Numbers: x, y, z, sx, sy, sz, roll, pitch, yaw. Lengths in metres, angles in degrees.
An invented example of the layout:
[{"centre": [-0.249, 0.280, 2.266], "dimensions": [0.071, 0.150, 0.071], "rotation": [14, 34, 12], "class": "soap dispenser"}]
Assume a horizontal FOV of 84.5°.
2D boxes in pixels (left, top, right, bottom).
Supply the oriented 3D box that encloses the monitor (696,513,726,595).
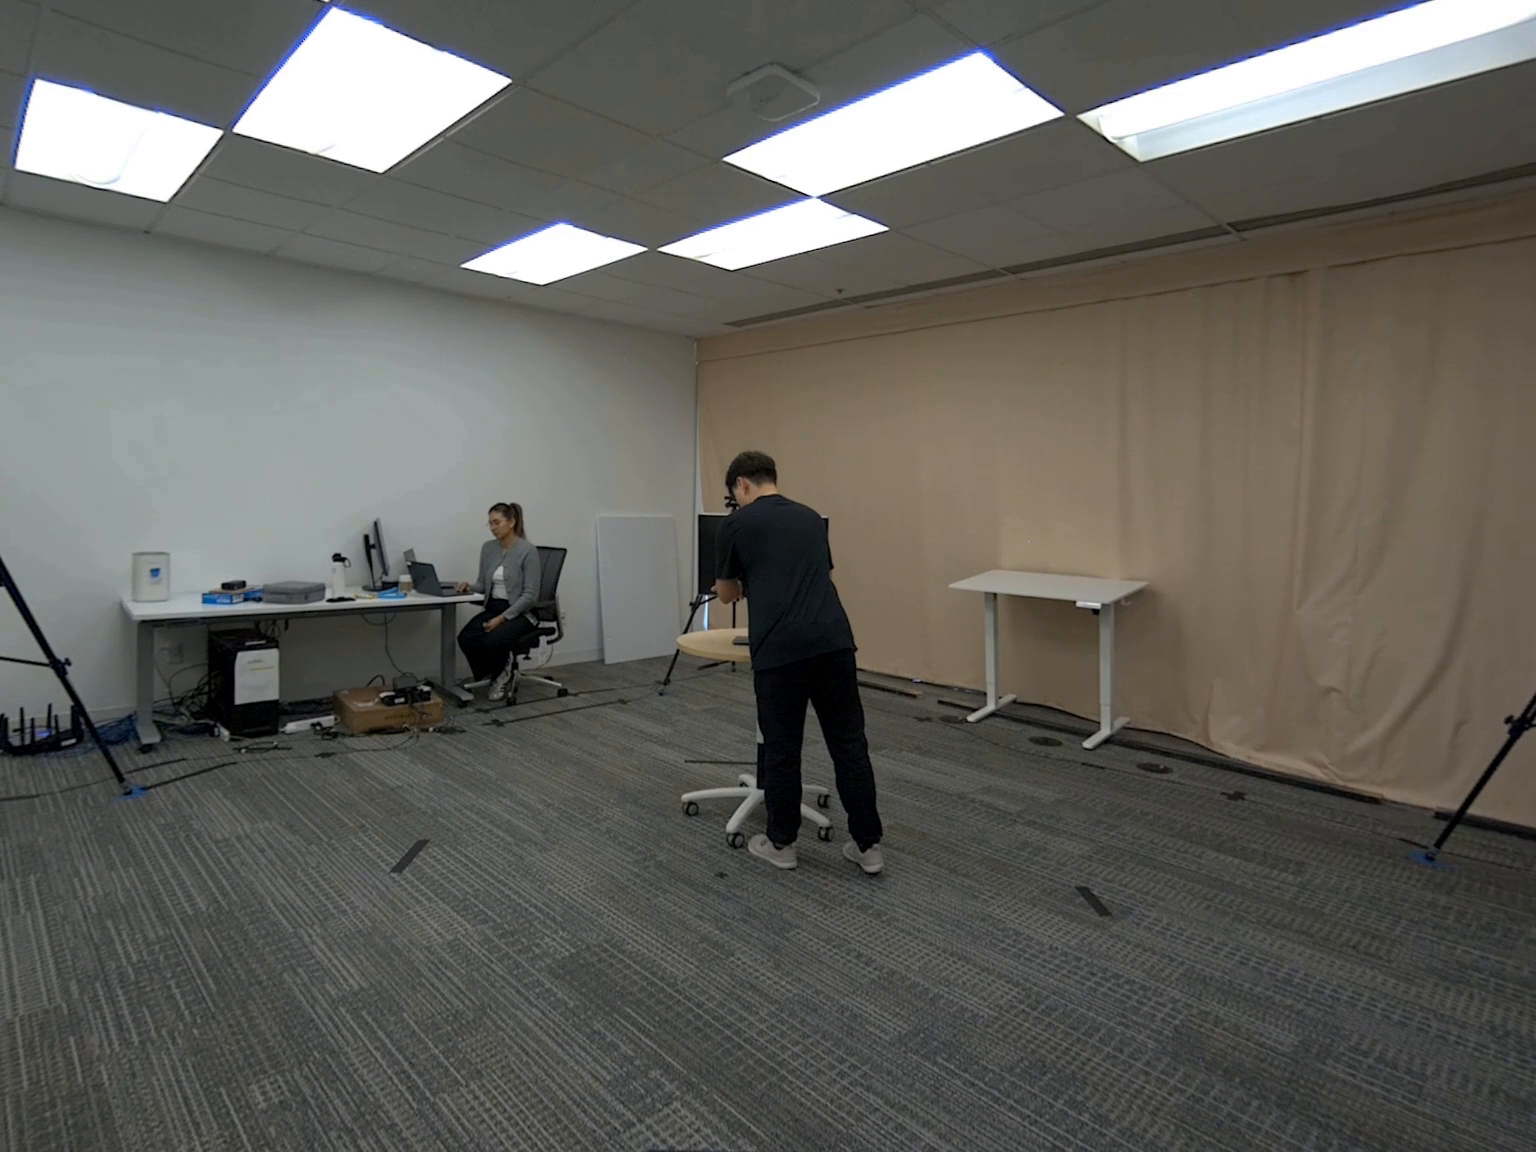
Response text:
[{"centre": [-0.026, 0.021, 3.560], "dimensions": [0.541, 0.522, 0.187], "rotation": [2, 2, 3], "class": "monitor"}]
